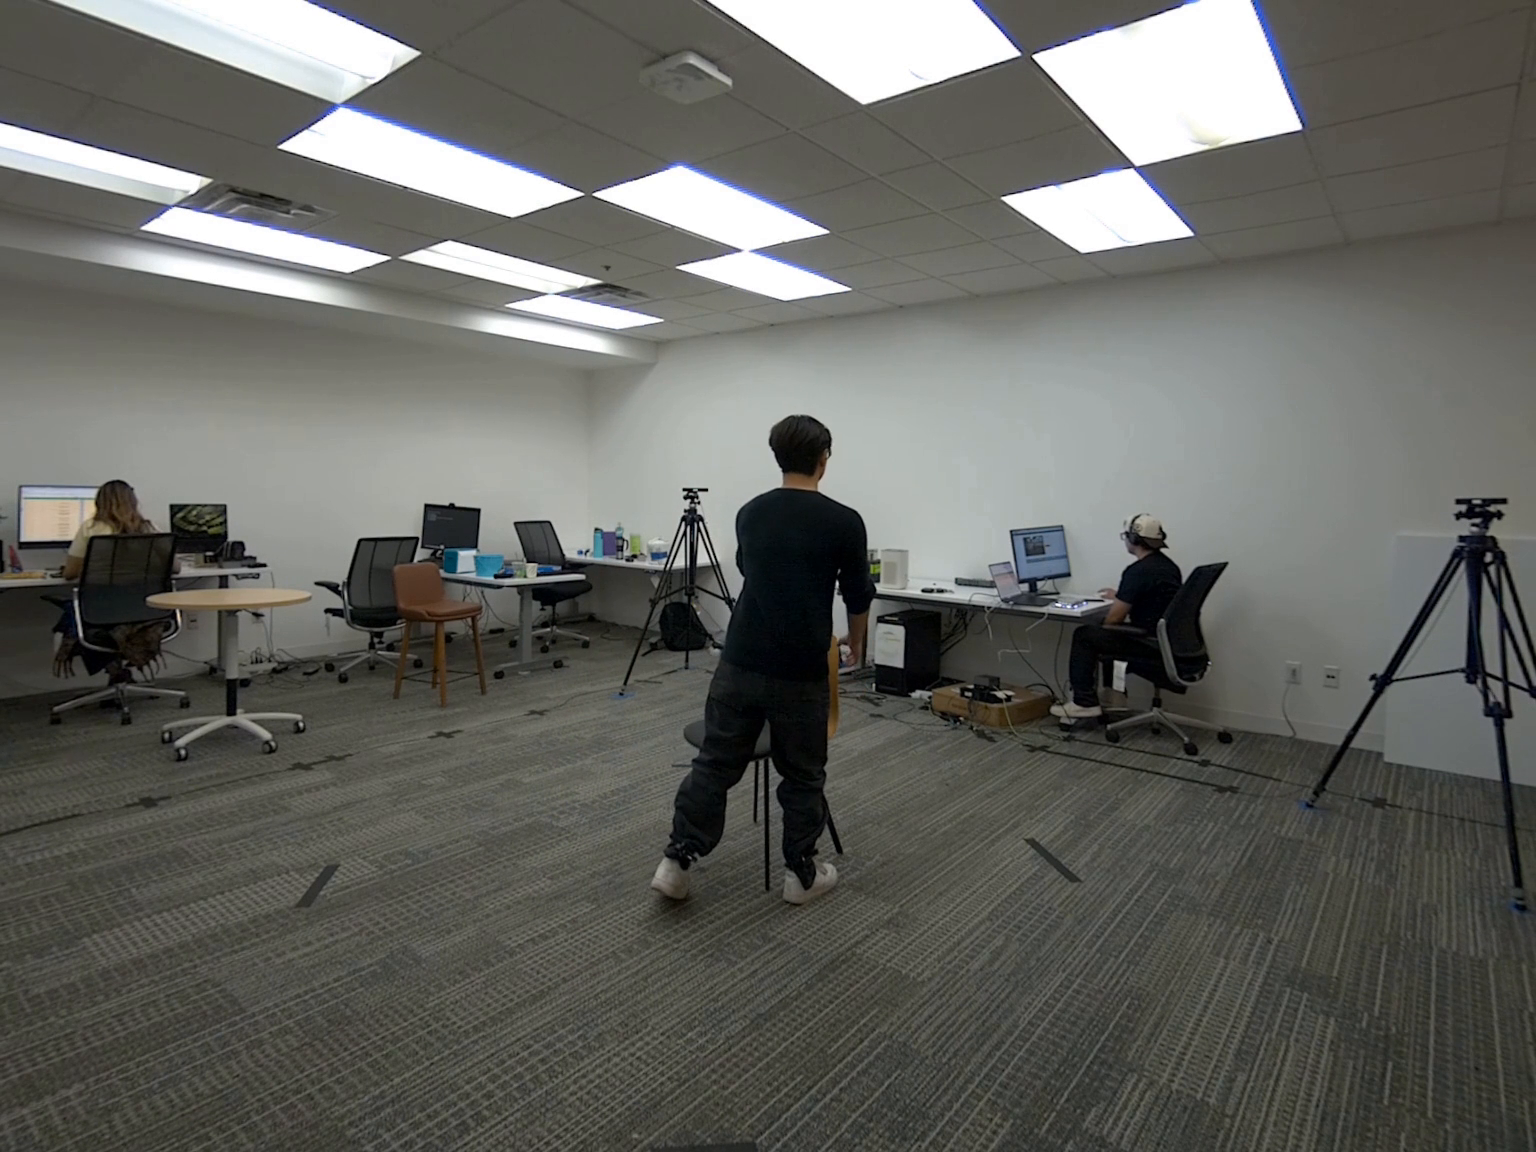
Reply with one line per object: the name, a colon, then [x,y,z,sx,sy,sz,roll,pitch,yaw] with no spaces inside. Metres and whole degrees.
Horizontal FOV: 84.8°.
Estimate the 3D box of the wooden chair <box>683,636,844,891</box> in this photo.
wooden chair: [-0.033,0.628,3.231,0.494,0.877,0.506,5,1,42]
